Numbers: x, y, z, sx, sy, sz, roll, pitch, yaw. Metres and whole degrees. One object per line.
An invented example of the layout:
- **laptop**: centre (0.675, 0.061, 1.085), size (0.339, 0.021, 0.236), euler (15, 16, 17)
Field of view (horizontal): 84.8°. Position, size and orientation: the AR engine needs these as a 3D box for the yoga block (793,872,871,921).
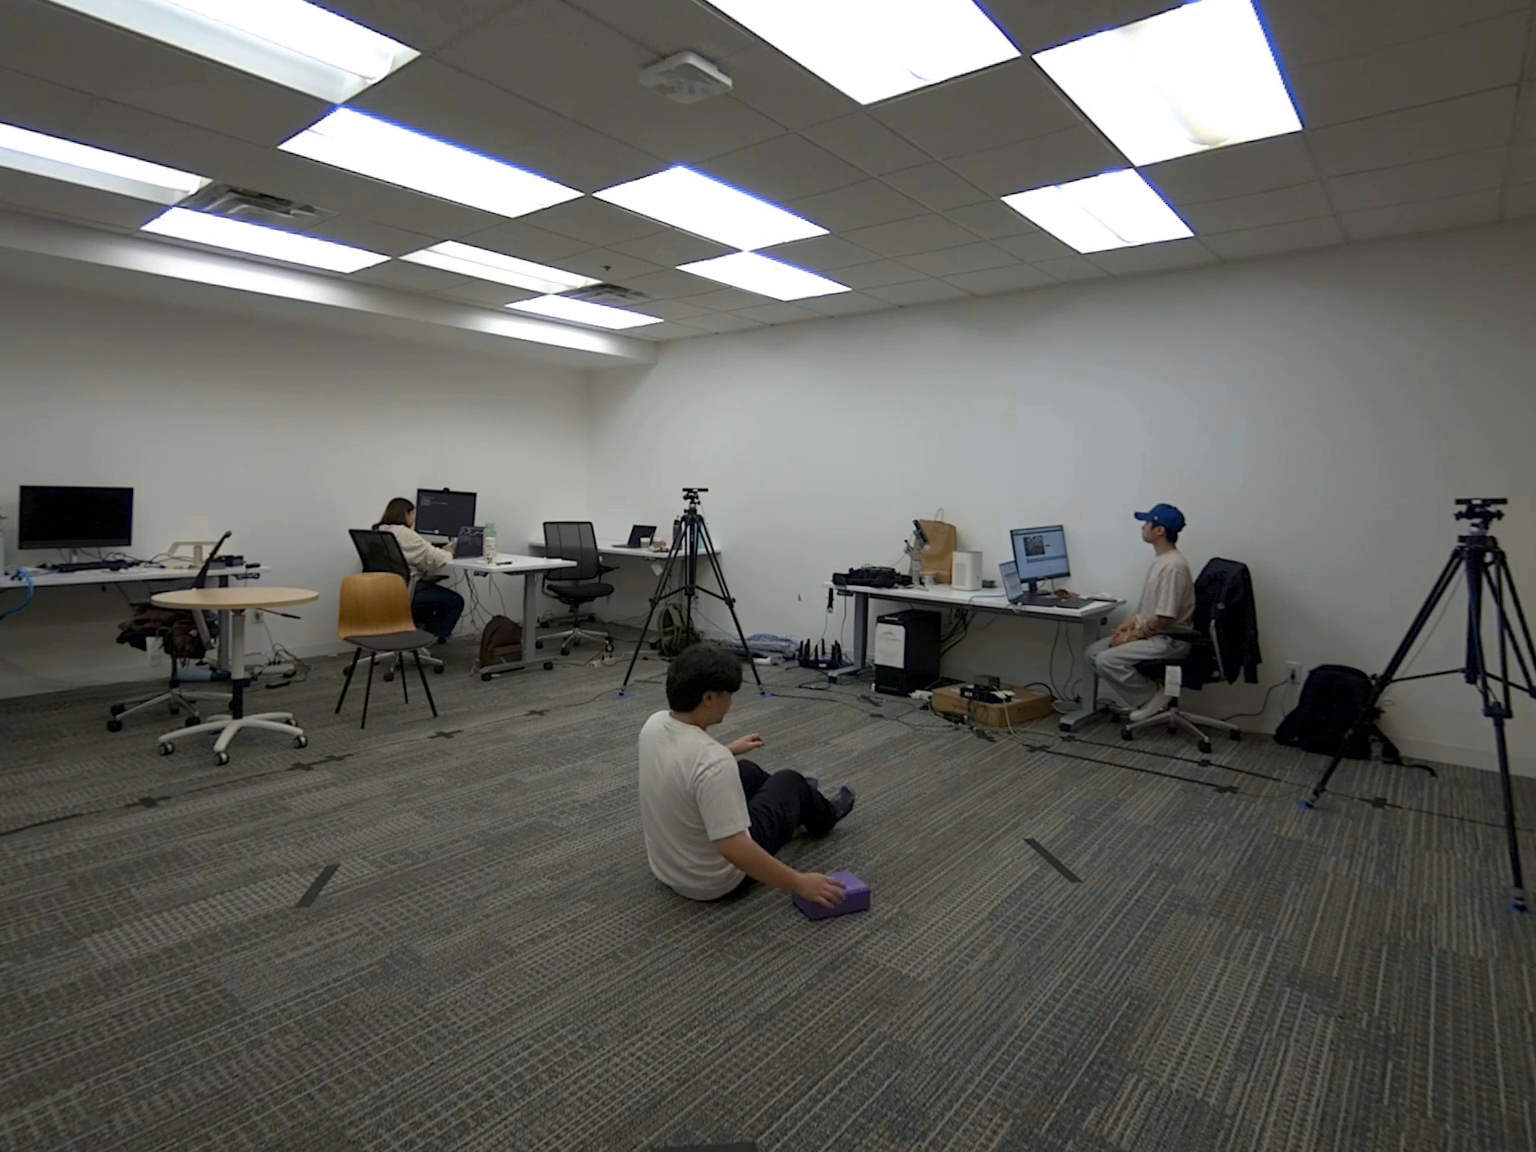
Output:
- **yoga block**: centre (0.202, 1.069, 2.847), size (0.224, 0.076, 0.153), euler (-1, 5, -24)
